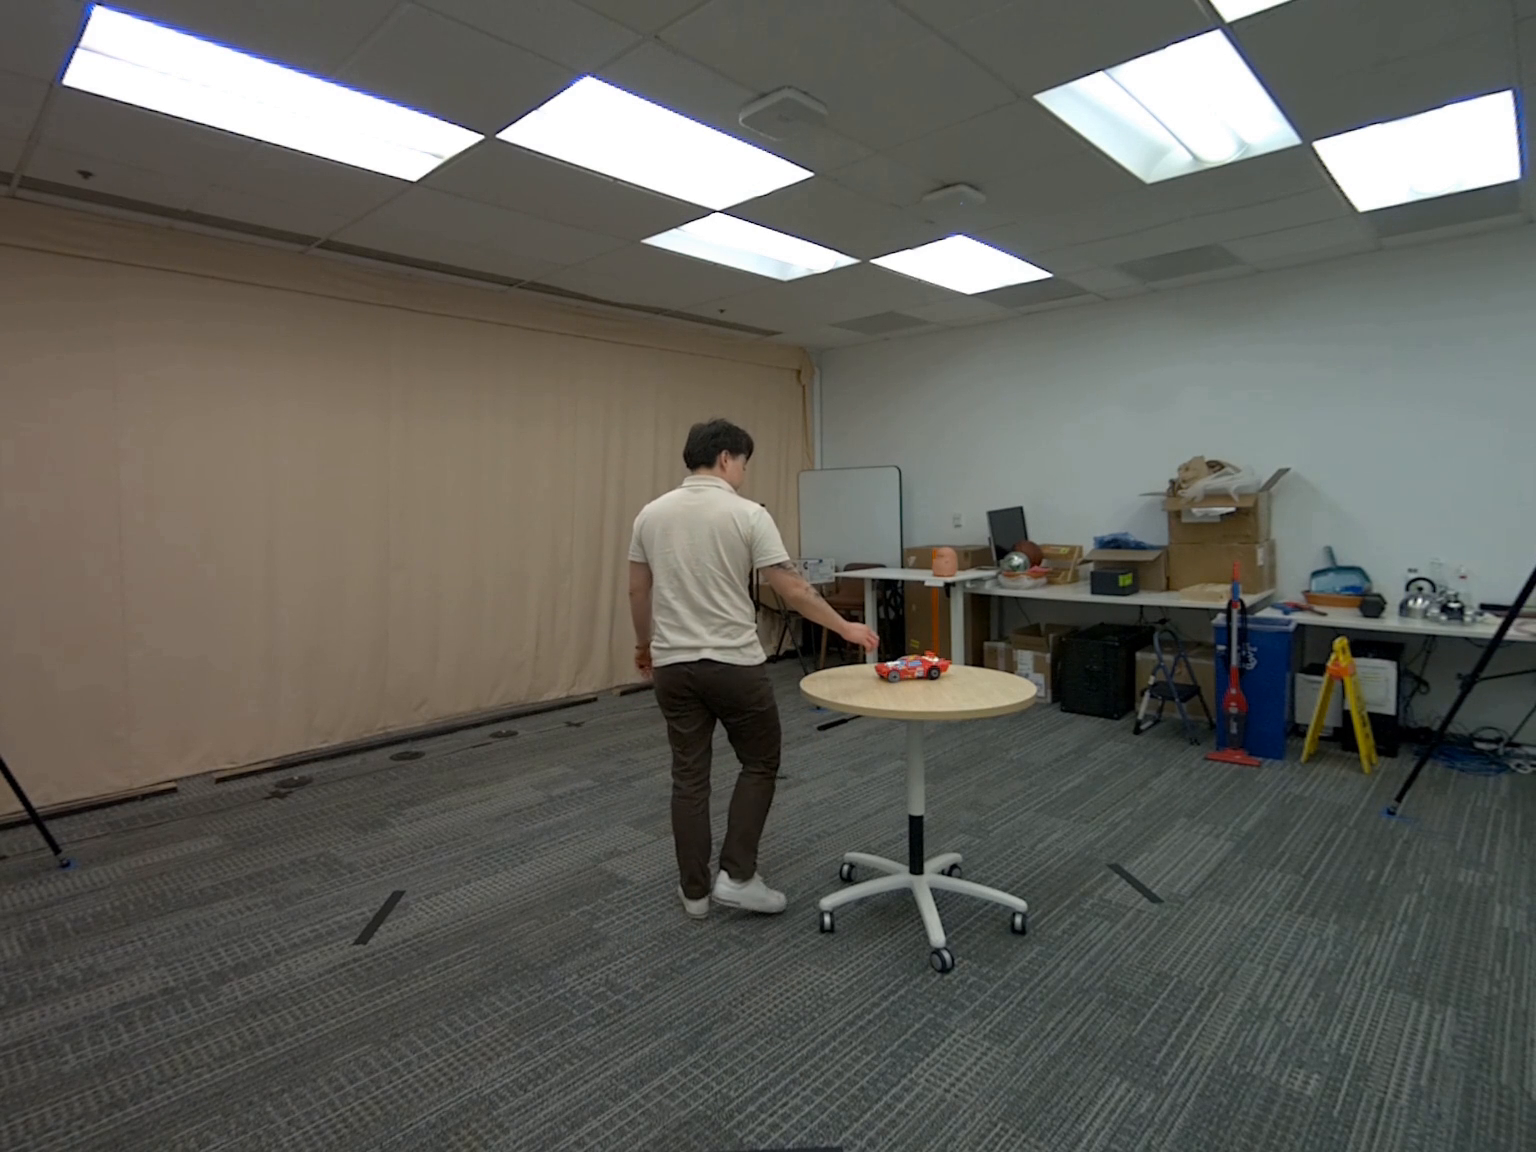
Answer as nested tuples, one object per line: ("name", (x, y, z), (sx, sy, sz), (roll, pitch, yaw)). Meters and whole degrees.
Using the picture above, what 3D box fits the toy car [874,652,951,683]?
("toy car", (0.511, 0.320, 2.900), (0.252, 0.083, 0.132), (-14, 6, -11))
